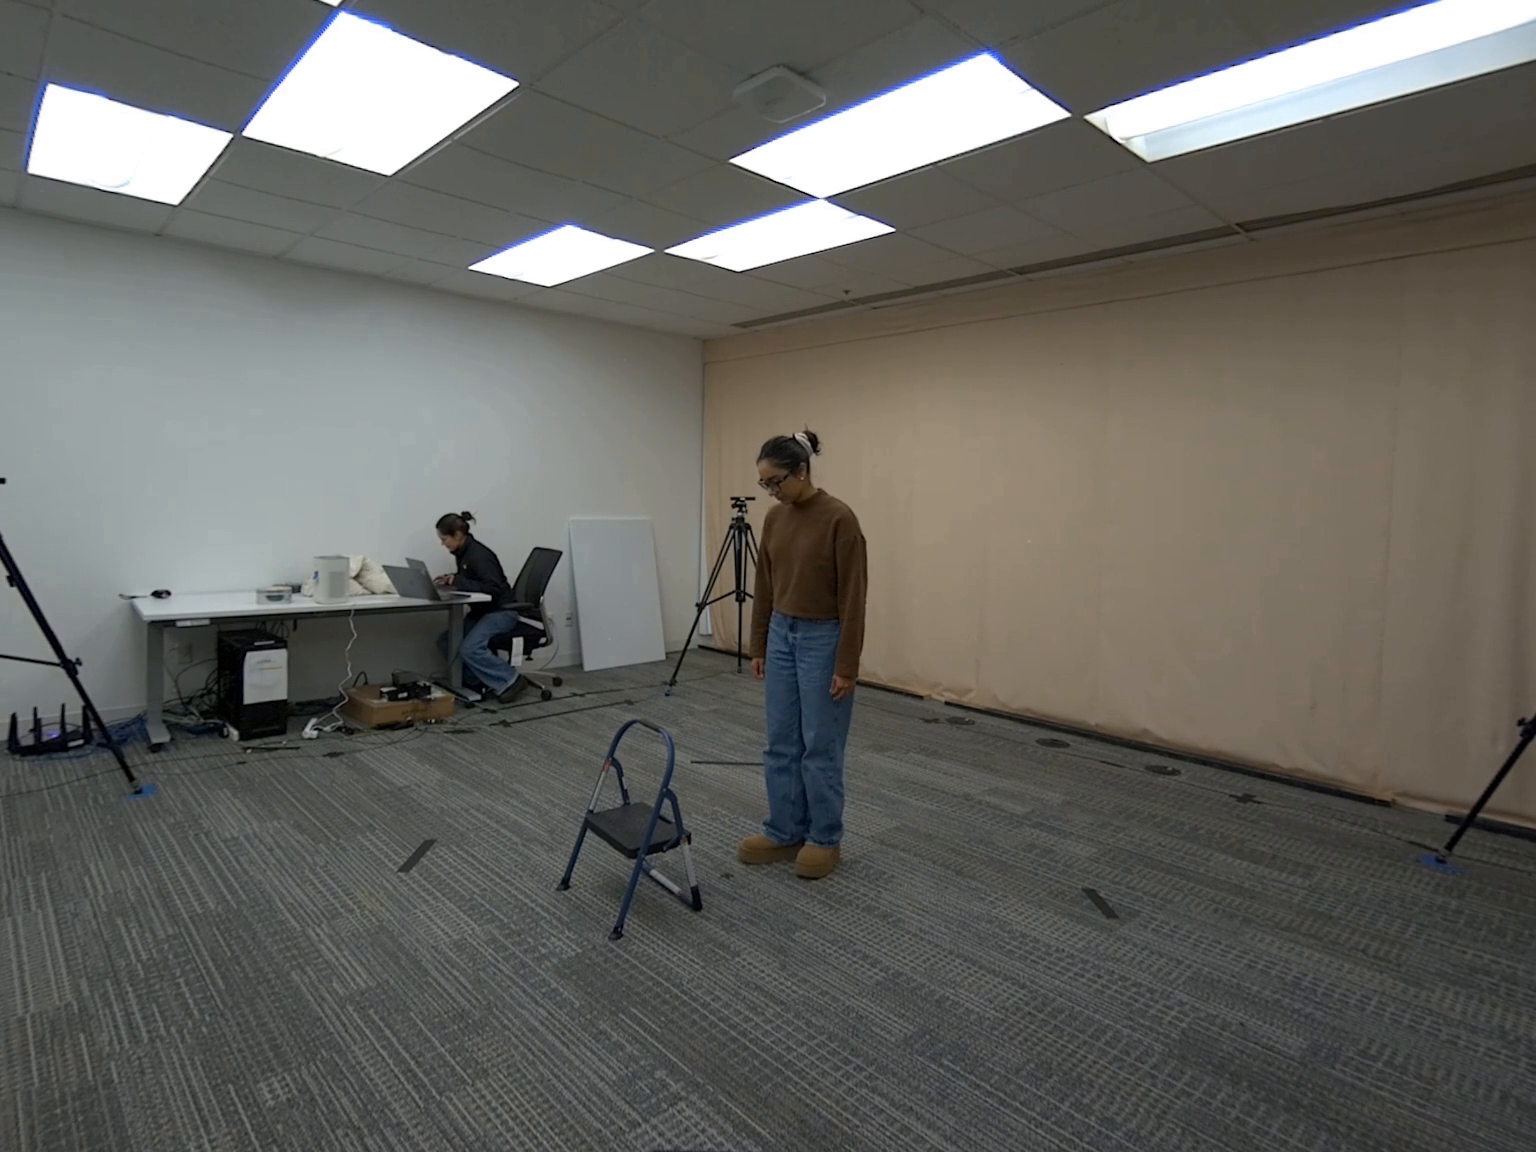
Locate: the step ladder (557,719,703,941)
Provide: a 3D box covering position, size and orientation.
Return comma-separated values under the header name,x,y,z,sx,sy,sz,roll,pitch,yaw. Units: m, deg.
name,x,y,z,sx,sy,sz,roll,pitch,yaw
step ladder,-0.475,0.815,2.885,0.341,0.605,0.441,0,4,-37
